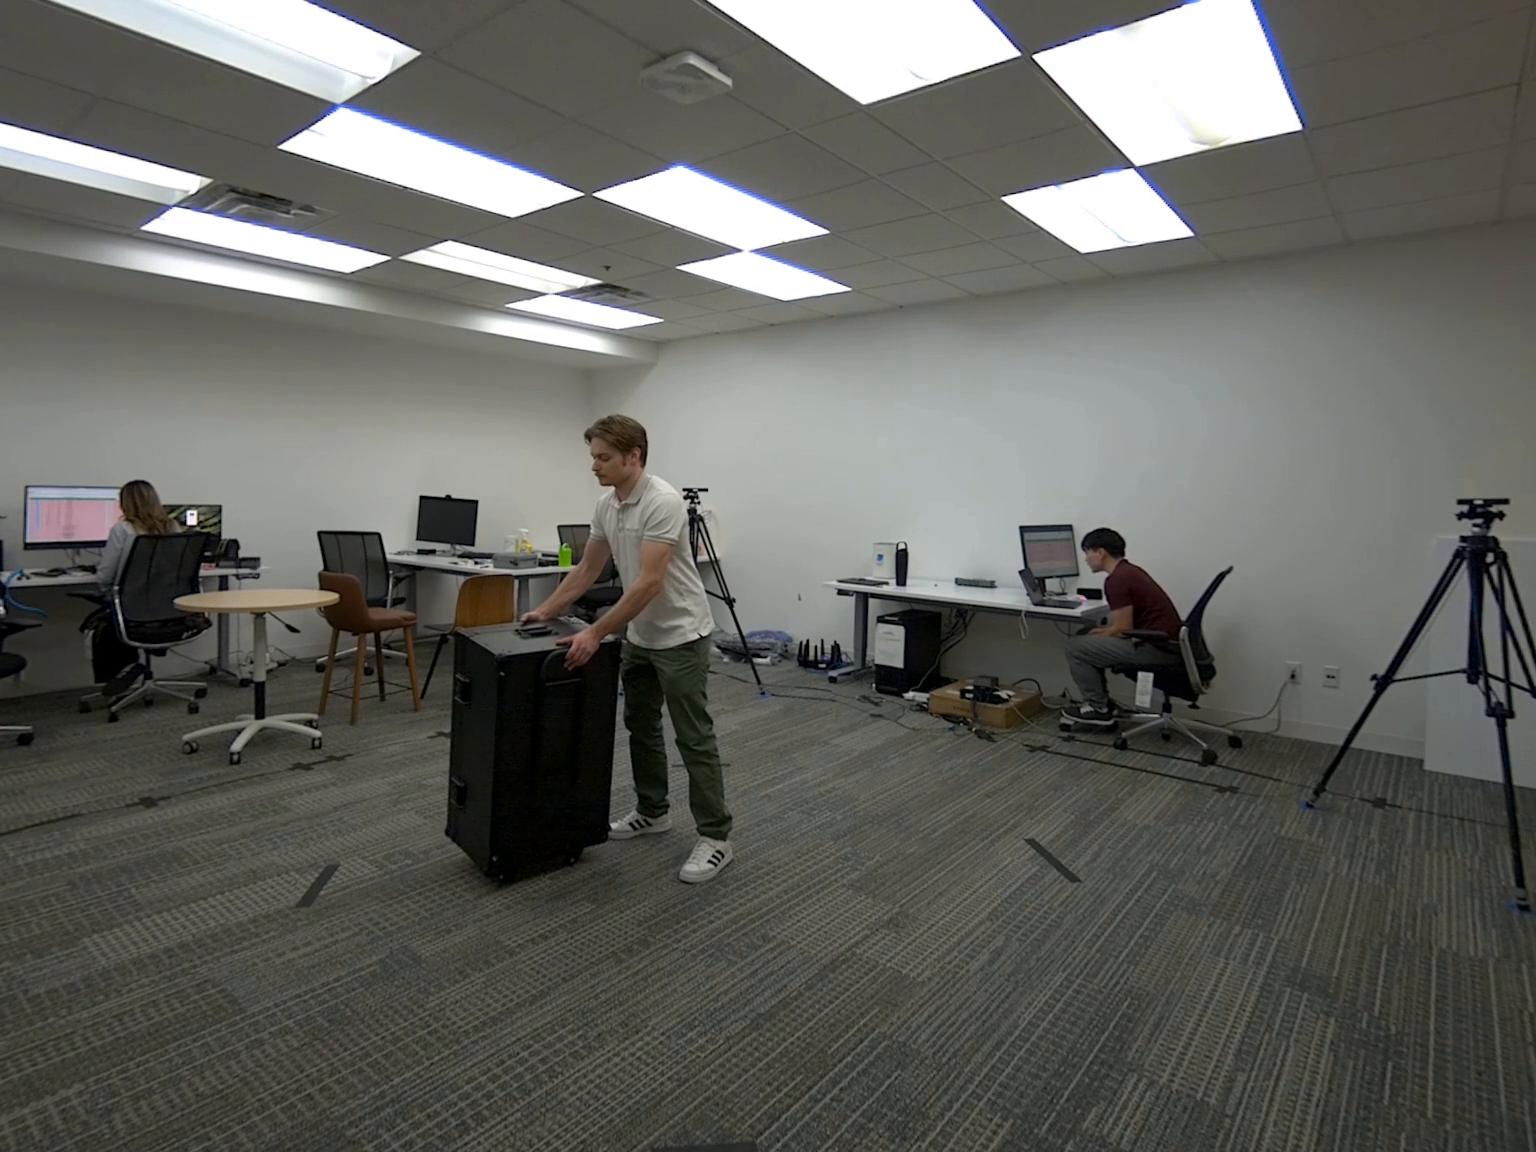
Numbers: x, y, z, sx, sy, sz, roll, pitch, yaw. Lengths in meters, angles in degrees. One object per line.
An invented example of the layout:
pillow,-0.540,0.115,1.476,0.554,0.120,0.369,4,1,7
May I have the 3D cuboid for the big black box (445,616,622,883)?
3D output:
big black box,-0.866,0.628,3.101,0.508,0.862,0.400,-3,12,-42
